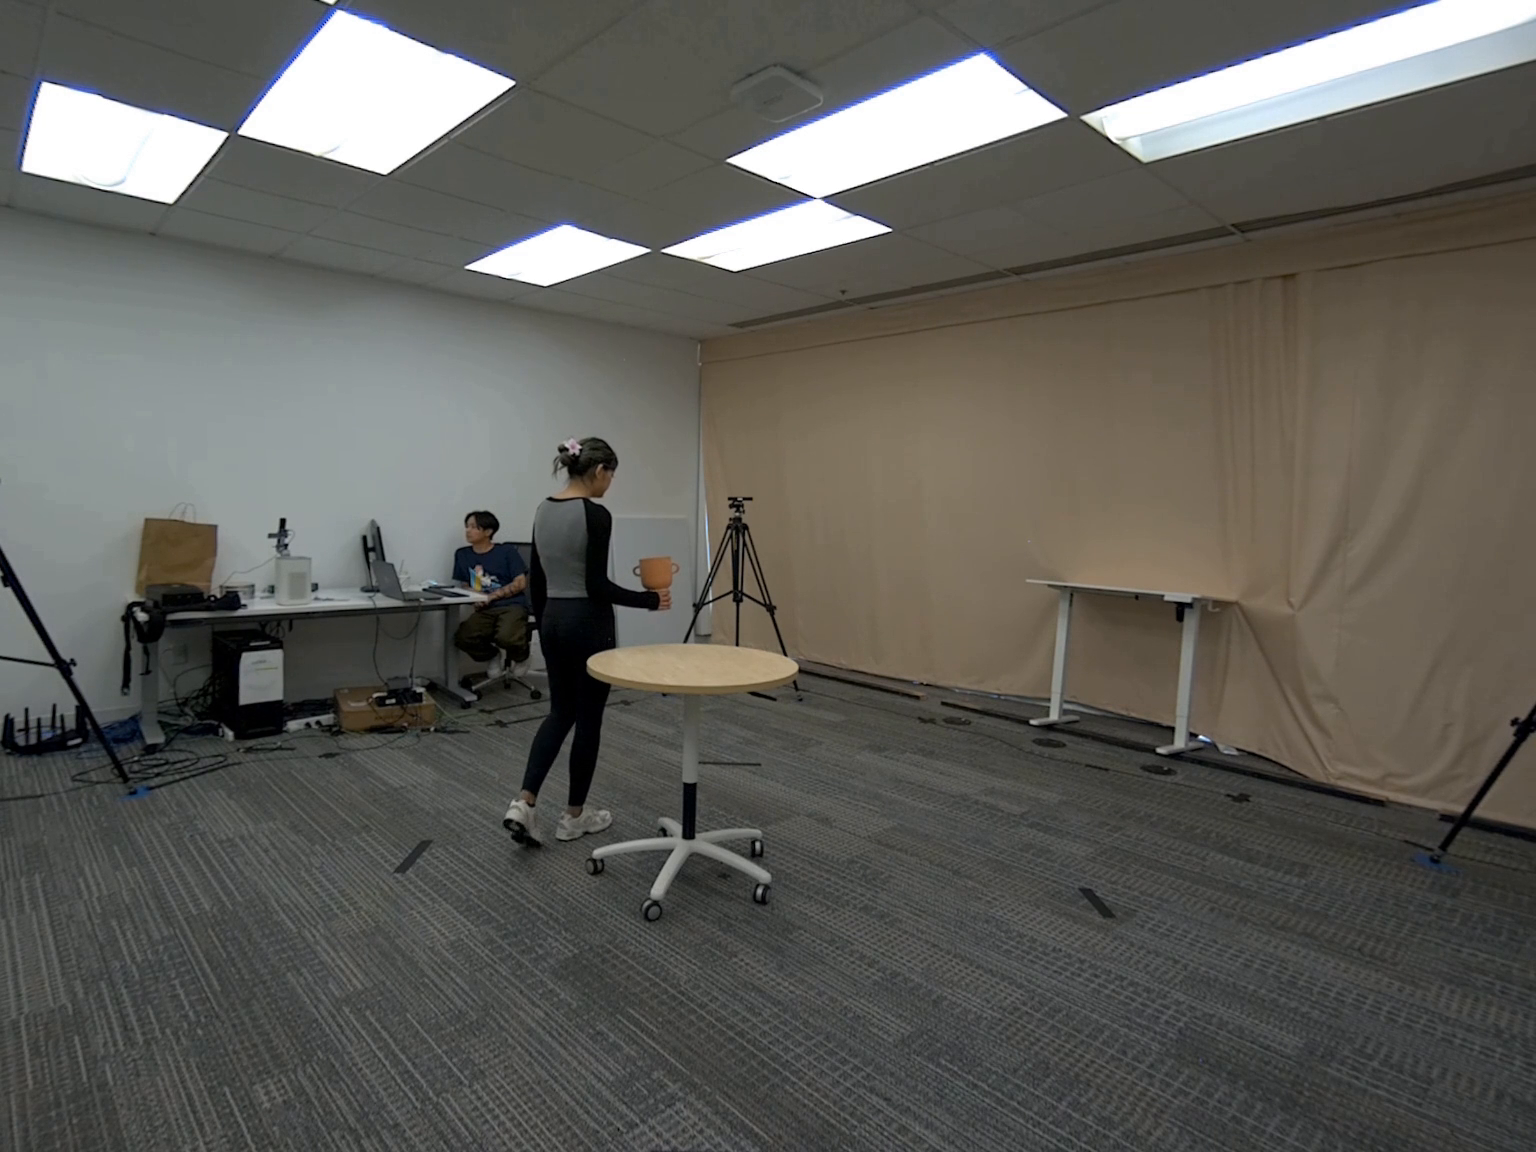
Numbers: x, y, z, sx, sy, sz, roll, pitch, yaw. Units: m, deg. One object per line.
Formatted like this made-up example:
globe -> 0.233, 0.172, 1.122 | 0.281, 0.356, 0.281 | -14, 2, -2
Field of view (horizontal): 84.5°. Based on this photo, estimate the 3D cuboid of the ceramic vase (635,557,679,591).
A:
ceramic vase -> -0.476, 0.031, 3.508 | 0.162, 0.220, 0.131 | -4, -1, 43
